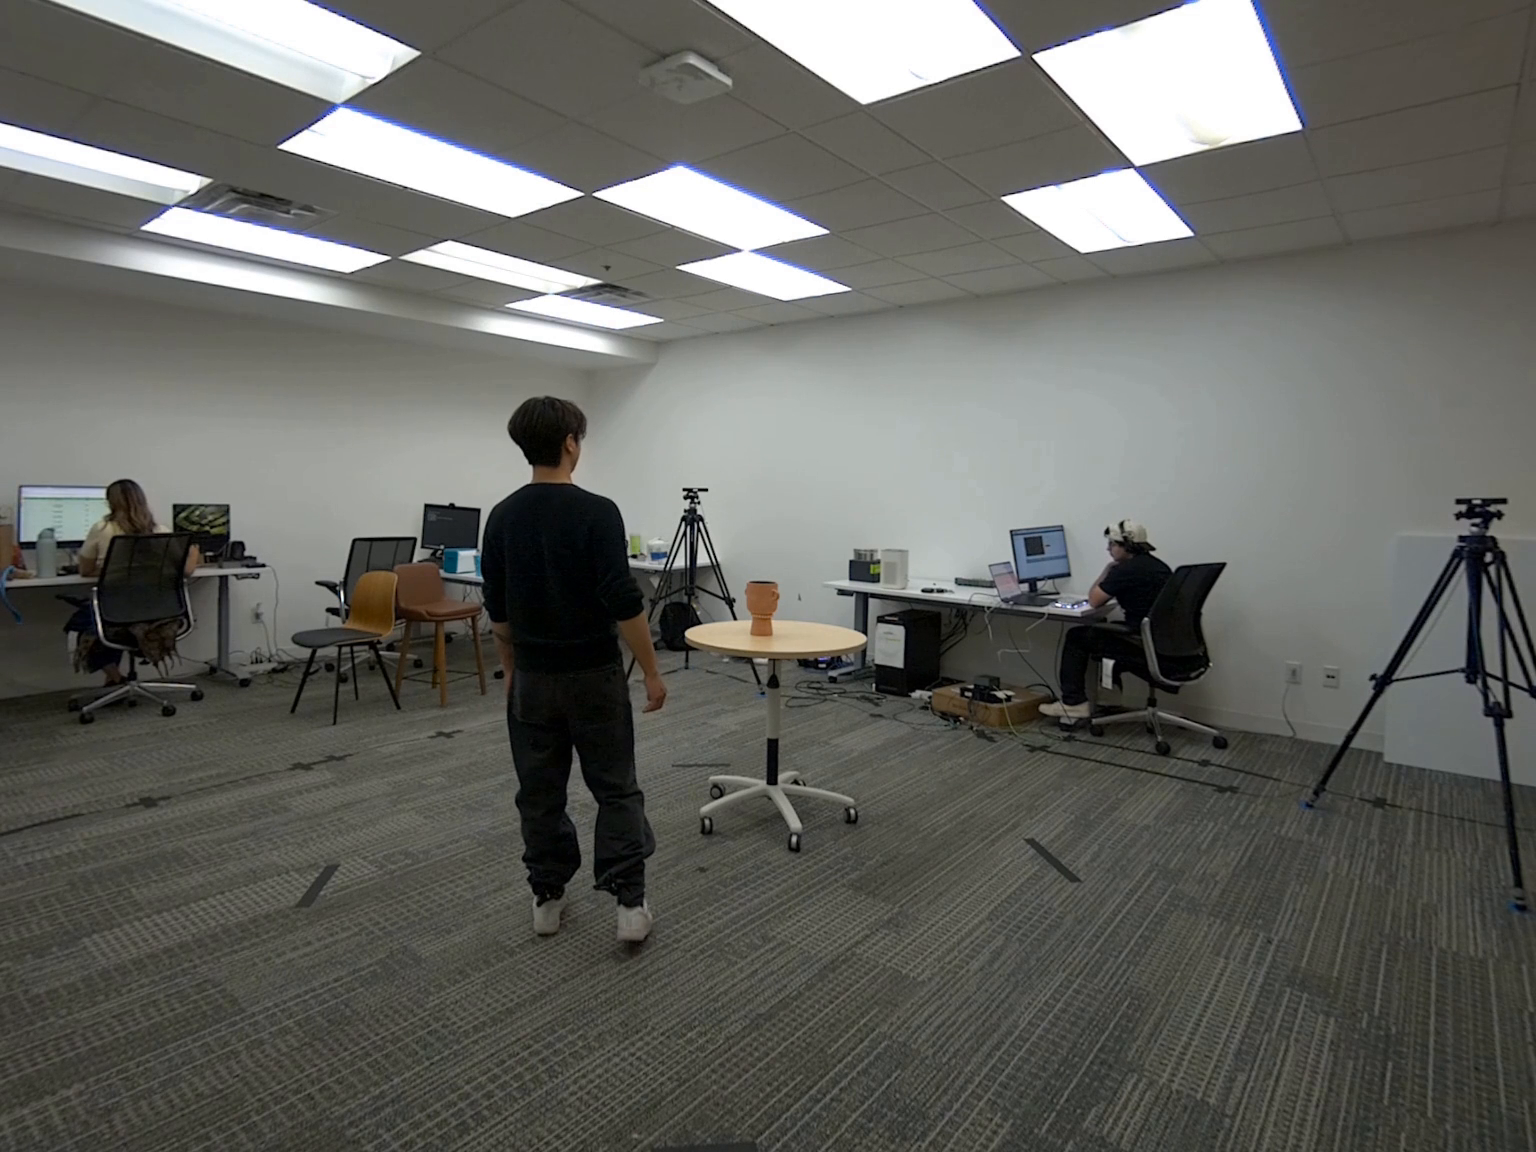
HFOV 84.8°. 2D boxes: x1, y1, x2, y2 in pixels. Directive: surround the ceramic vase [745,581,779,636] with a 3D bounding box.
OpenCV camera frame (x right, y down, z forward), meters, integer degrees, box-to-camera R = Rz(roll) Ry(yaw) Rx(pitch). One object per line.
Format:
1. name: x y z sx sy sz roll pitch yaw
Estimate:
1. ceramic vase: -0.035 0.133 3.599 0.134 0.219 0.160 0 4 -6
